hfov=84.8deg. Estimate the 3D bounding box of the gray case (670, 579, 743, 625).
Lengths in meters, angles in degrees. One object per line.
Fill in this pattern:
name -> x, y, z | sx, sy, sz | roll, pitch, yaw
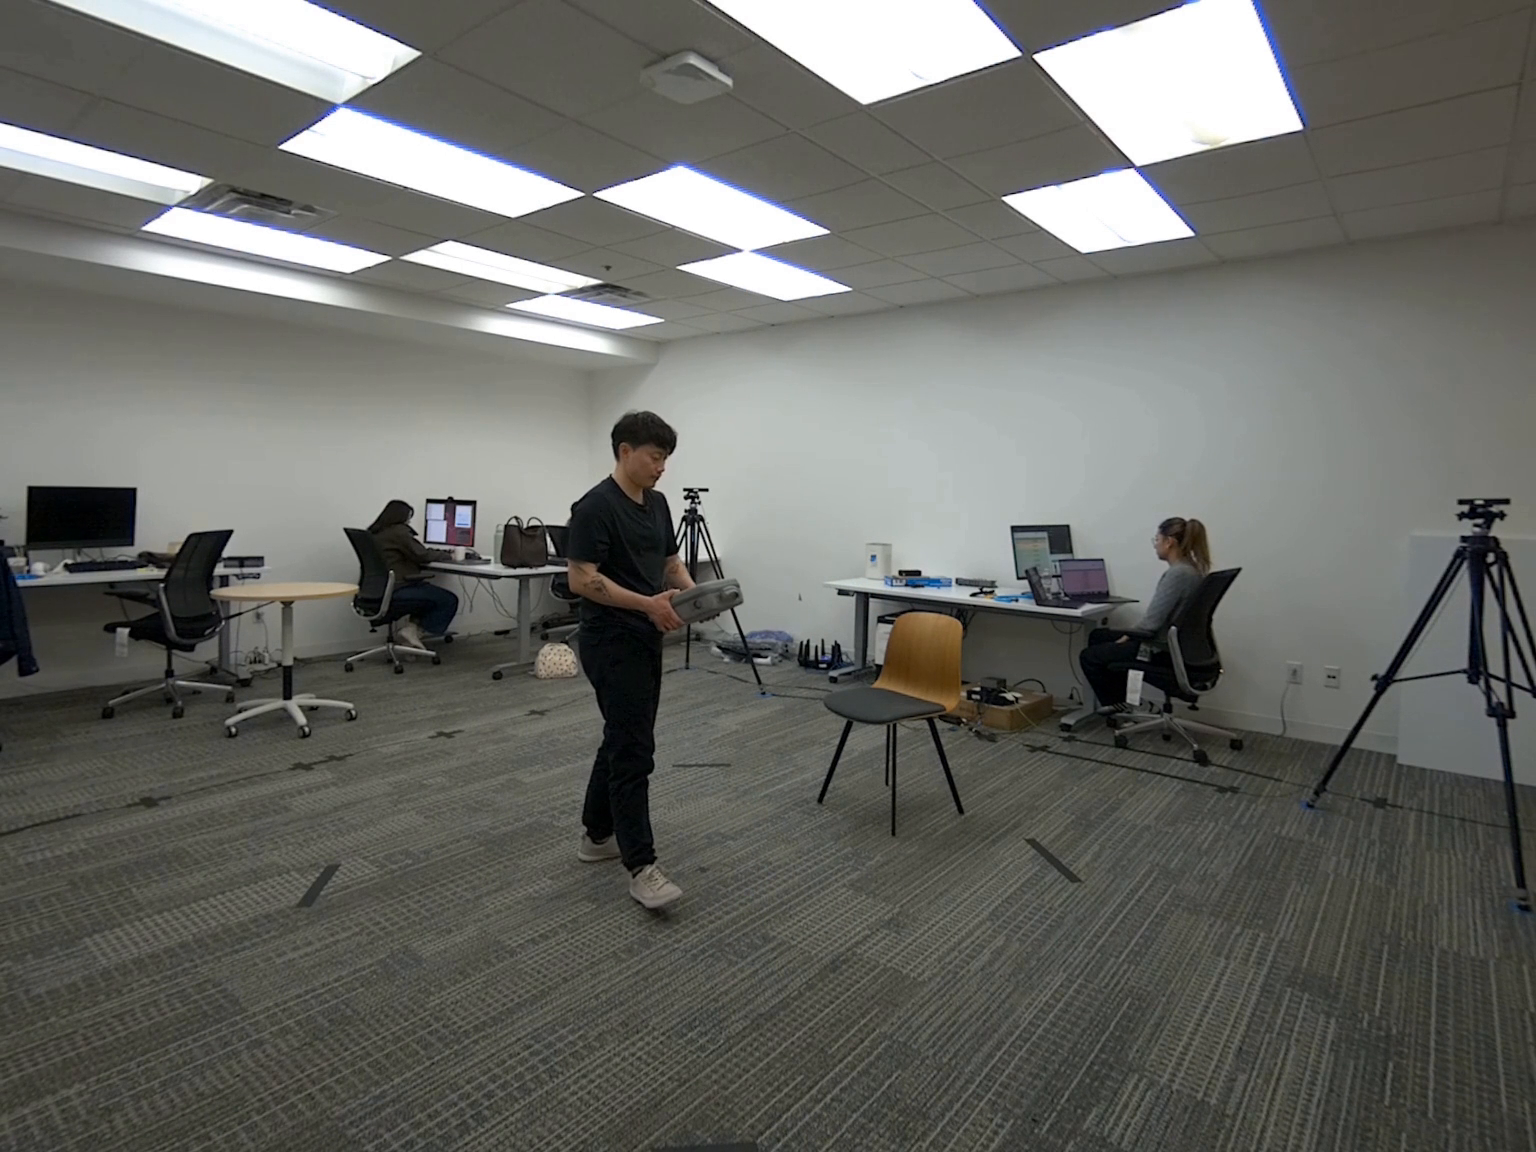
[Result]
gray case -> -0.250, 0.093, 2.947 | 0.264, 0.105, 0.252 | -20, -4, 20
